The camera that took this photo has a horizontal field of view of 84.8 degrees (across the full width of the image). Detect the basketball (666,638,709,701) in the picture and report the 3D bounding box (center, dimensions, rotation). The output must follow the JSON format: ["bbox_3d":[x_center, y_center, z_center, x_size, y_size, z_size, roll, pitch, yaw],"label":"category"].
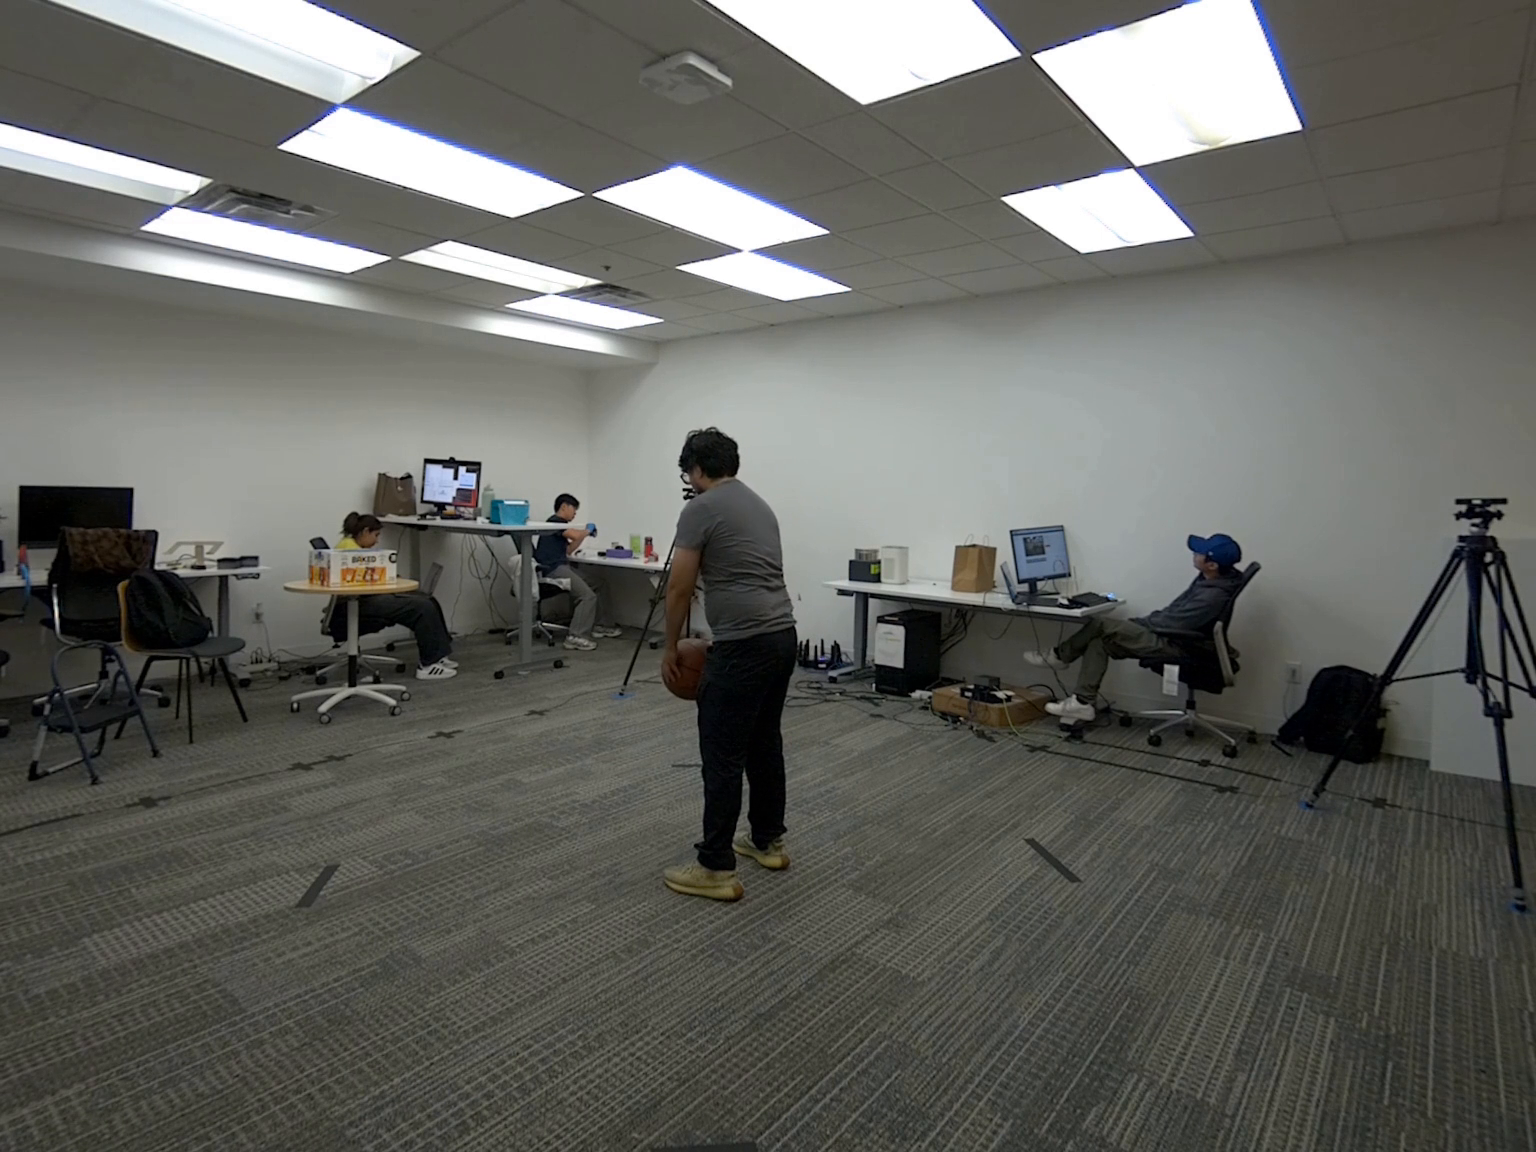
[{"bbox_3d":[-0.304,0.357,3.308,0.235,0.235,0.237,1,4,-2],"label":"basketball"}]
